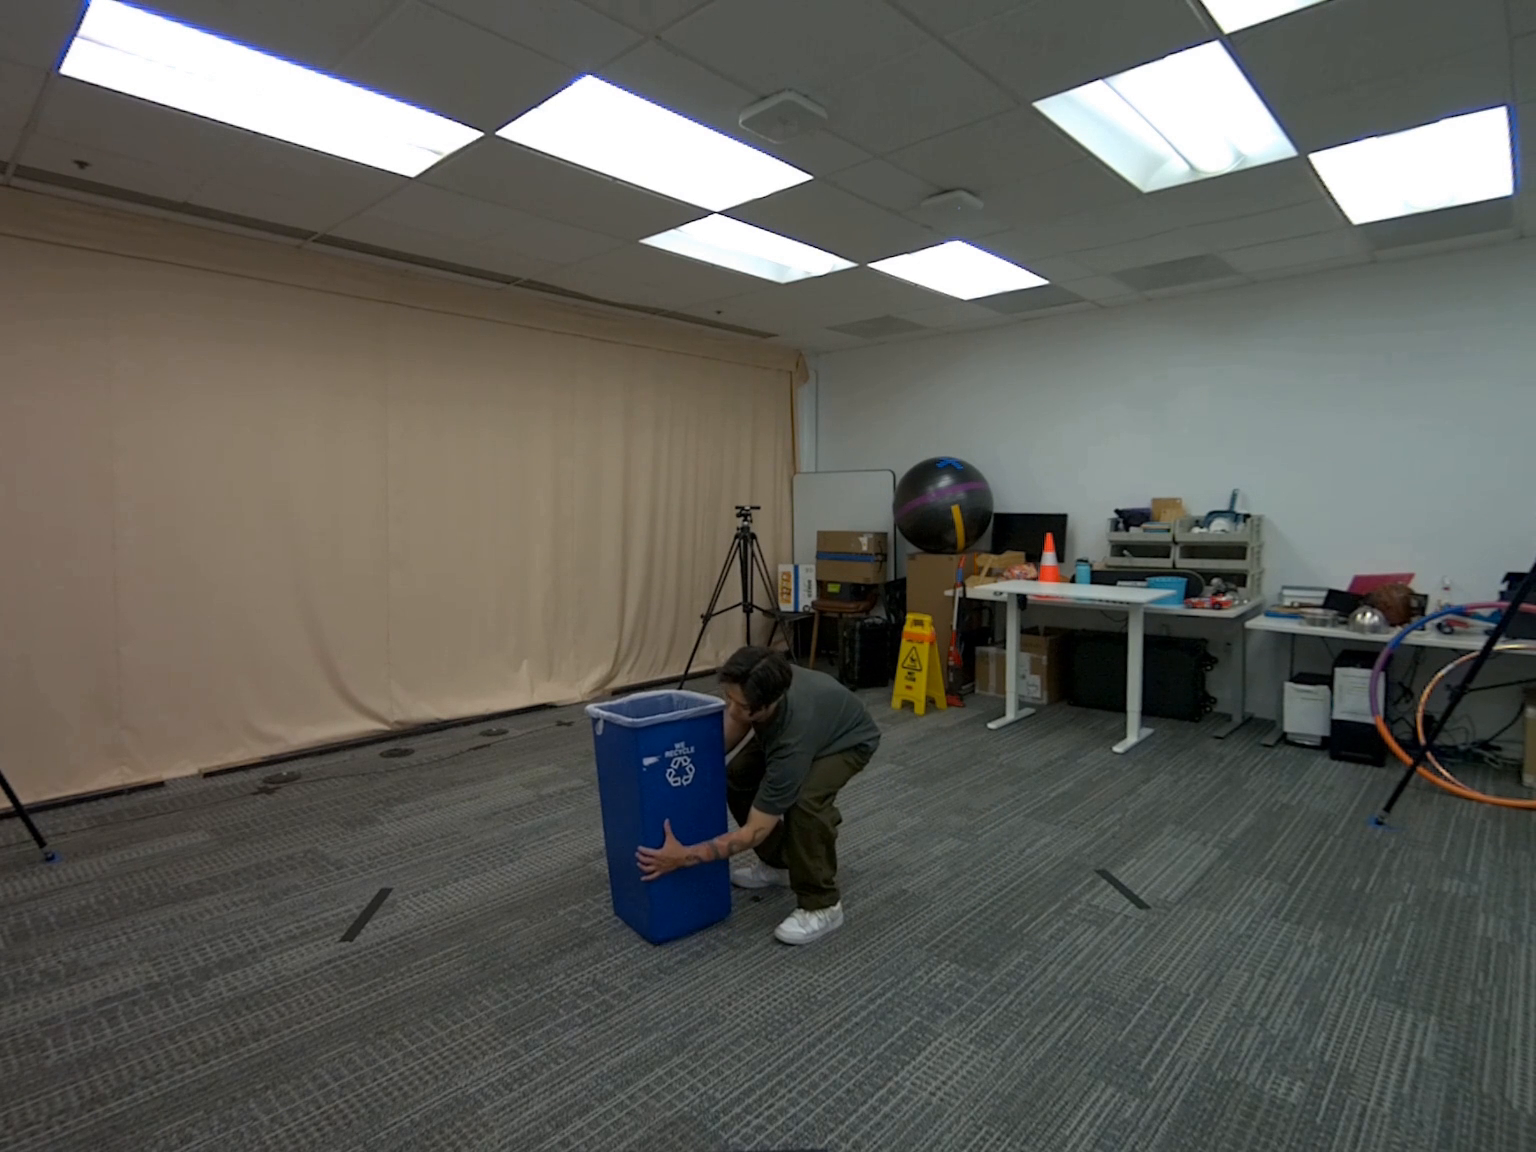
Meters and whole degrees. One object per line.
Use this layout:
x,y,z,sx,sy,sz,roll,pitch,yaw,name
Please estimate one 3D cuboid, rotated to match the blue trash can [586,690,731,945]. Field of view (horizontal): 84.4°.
-0.362,0.790,2.850,0.367,0.713,0.385,-5,2,-37,blue trash can
